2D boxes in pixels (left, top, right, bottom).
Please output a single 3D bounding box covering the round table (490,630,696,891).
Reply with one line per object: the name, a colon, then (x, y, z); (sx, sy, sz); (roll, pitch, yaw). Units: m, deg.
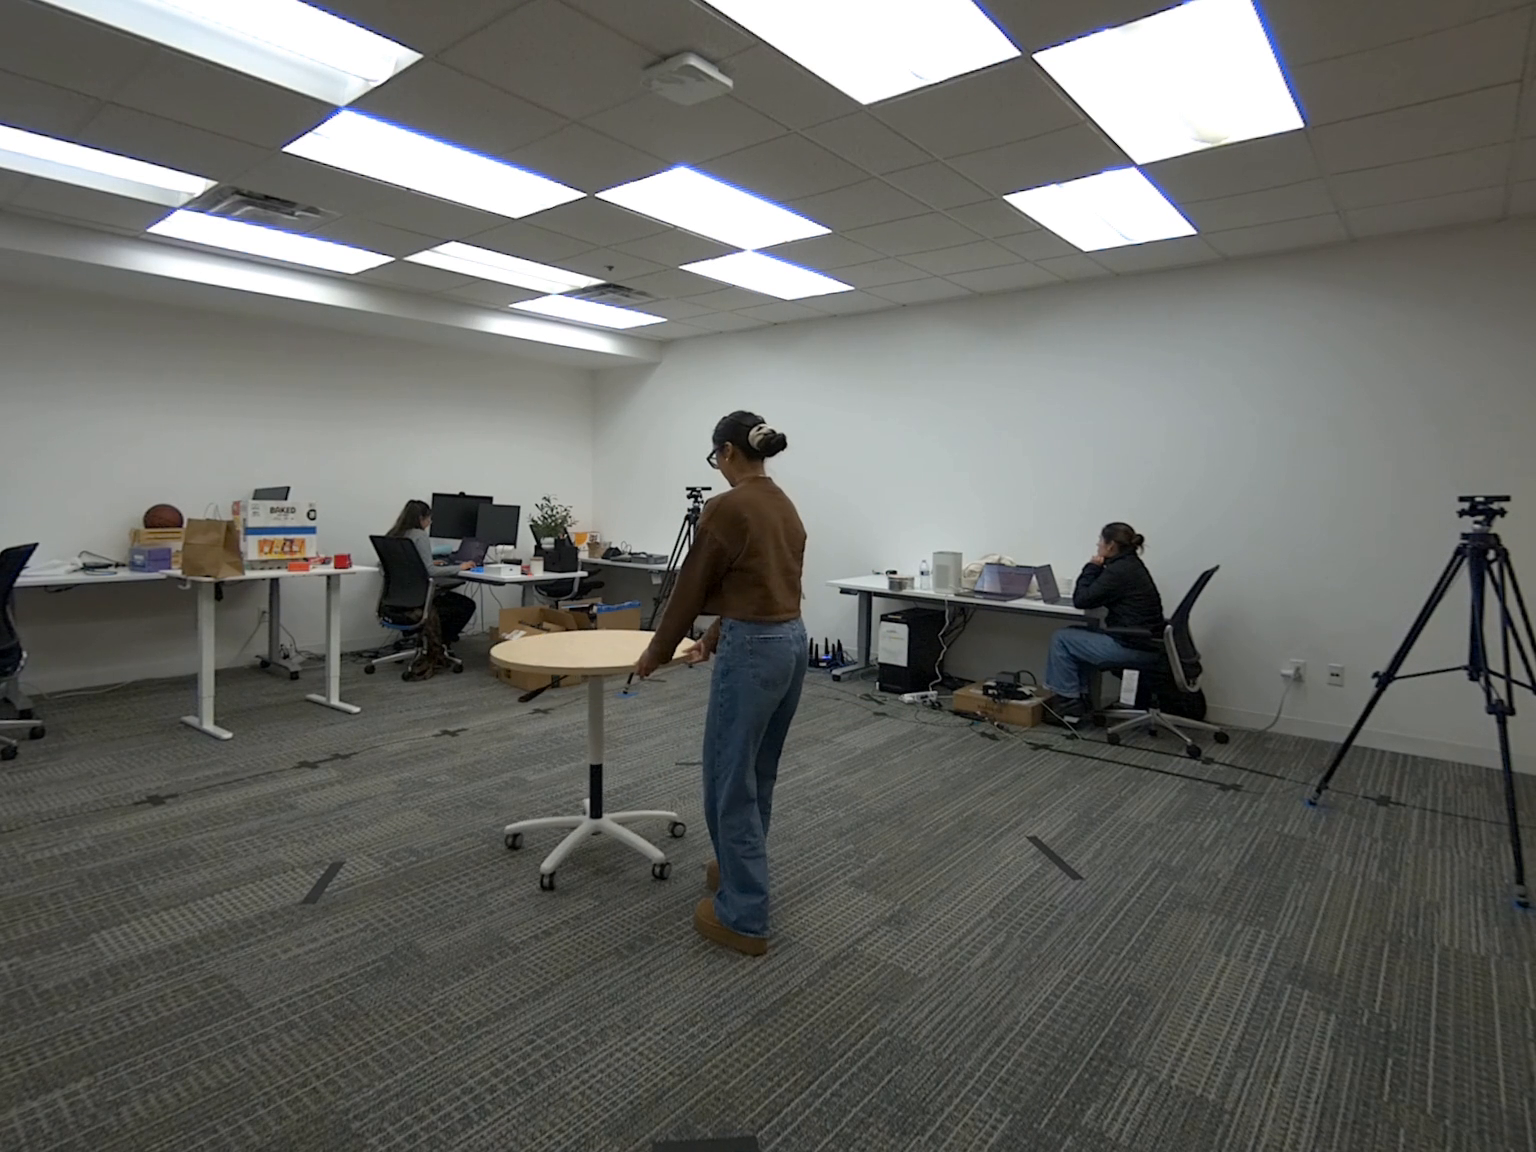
round table: (-0.629, 0.655, 3.204); (0.784, 0.784, 0.789); (0, 4, -2)
